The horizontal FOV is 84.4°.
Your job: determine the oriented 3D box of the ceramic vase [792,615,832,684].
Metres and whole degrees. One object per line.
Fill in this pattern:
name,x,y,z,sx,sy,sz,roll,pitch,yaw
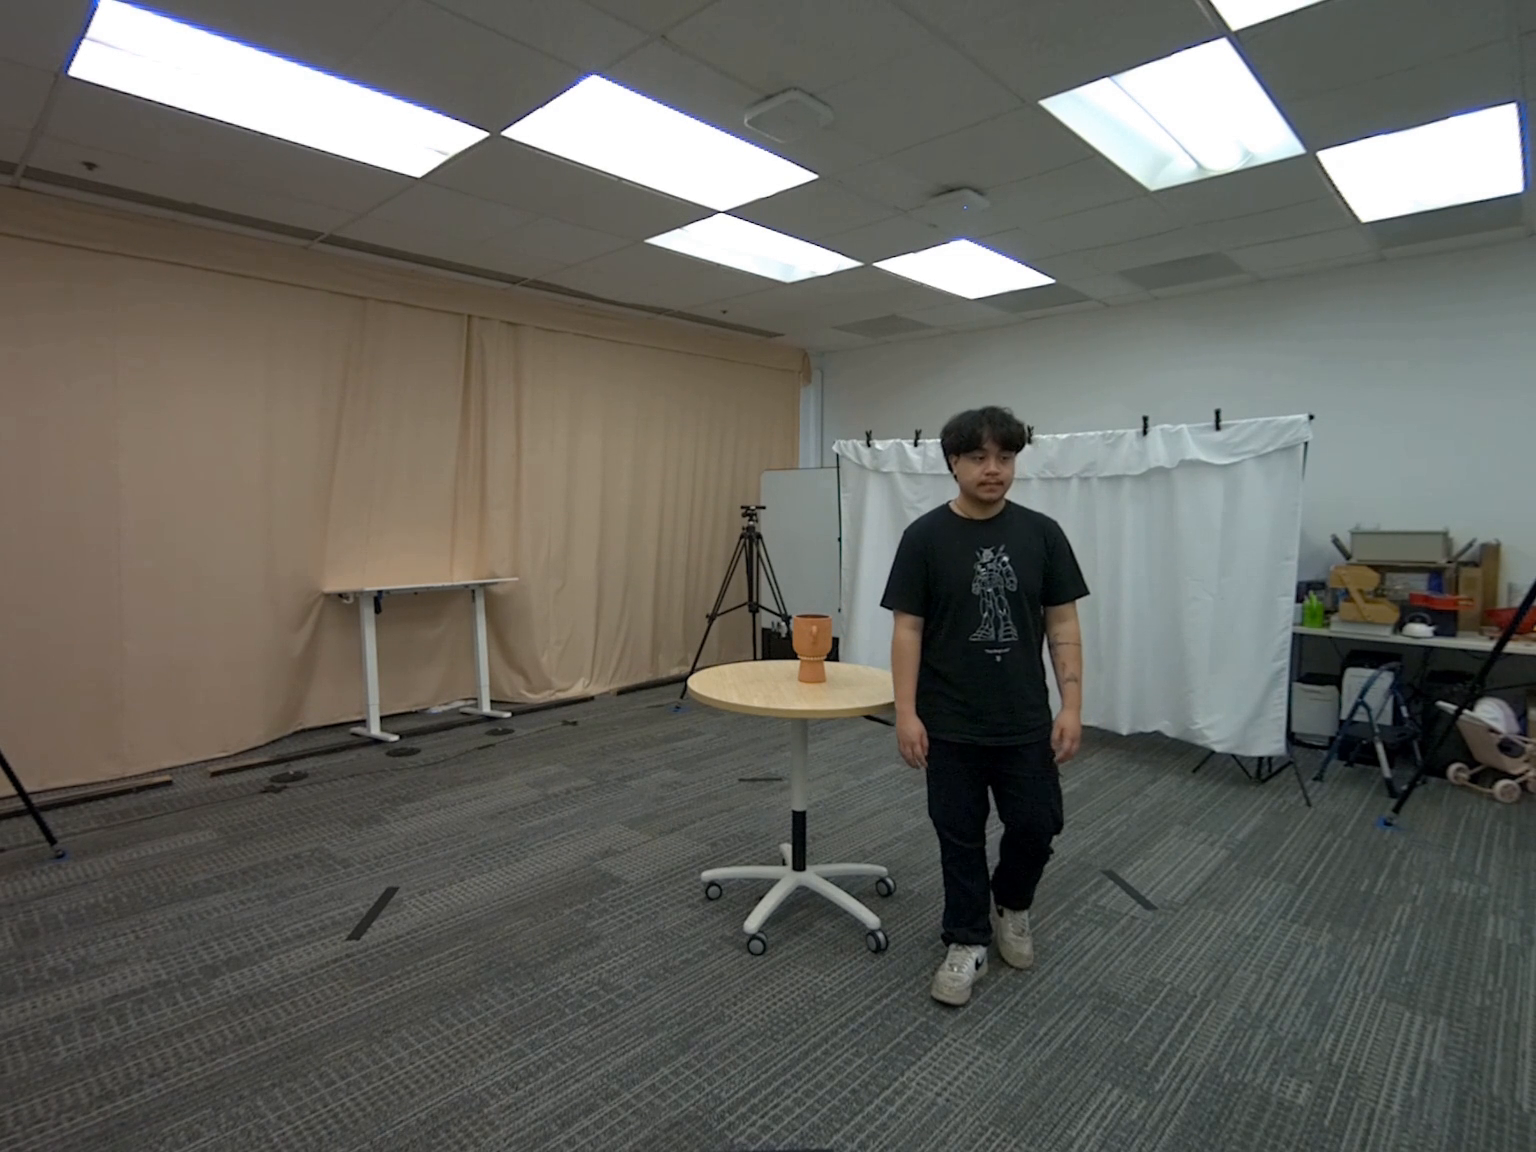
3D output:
ceramic vase,0.161,0.248,2.878,0.139,0.219,0.154,4,5,39
